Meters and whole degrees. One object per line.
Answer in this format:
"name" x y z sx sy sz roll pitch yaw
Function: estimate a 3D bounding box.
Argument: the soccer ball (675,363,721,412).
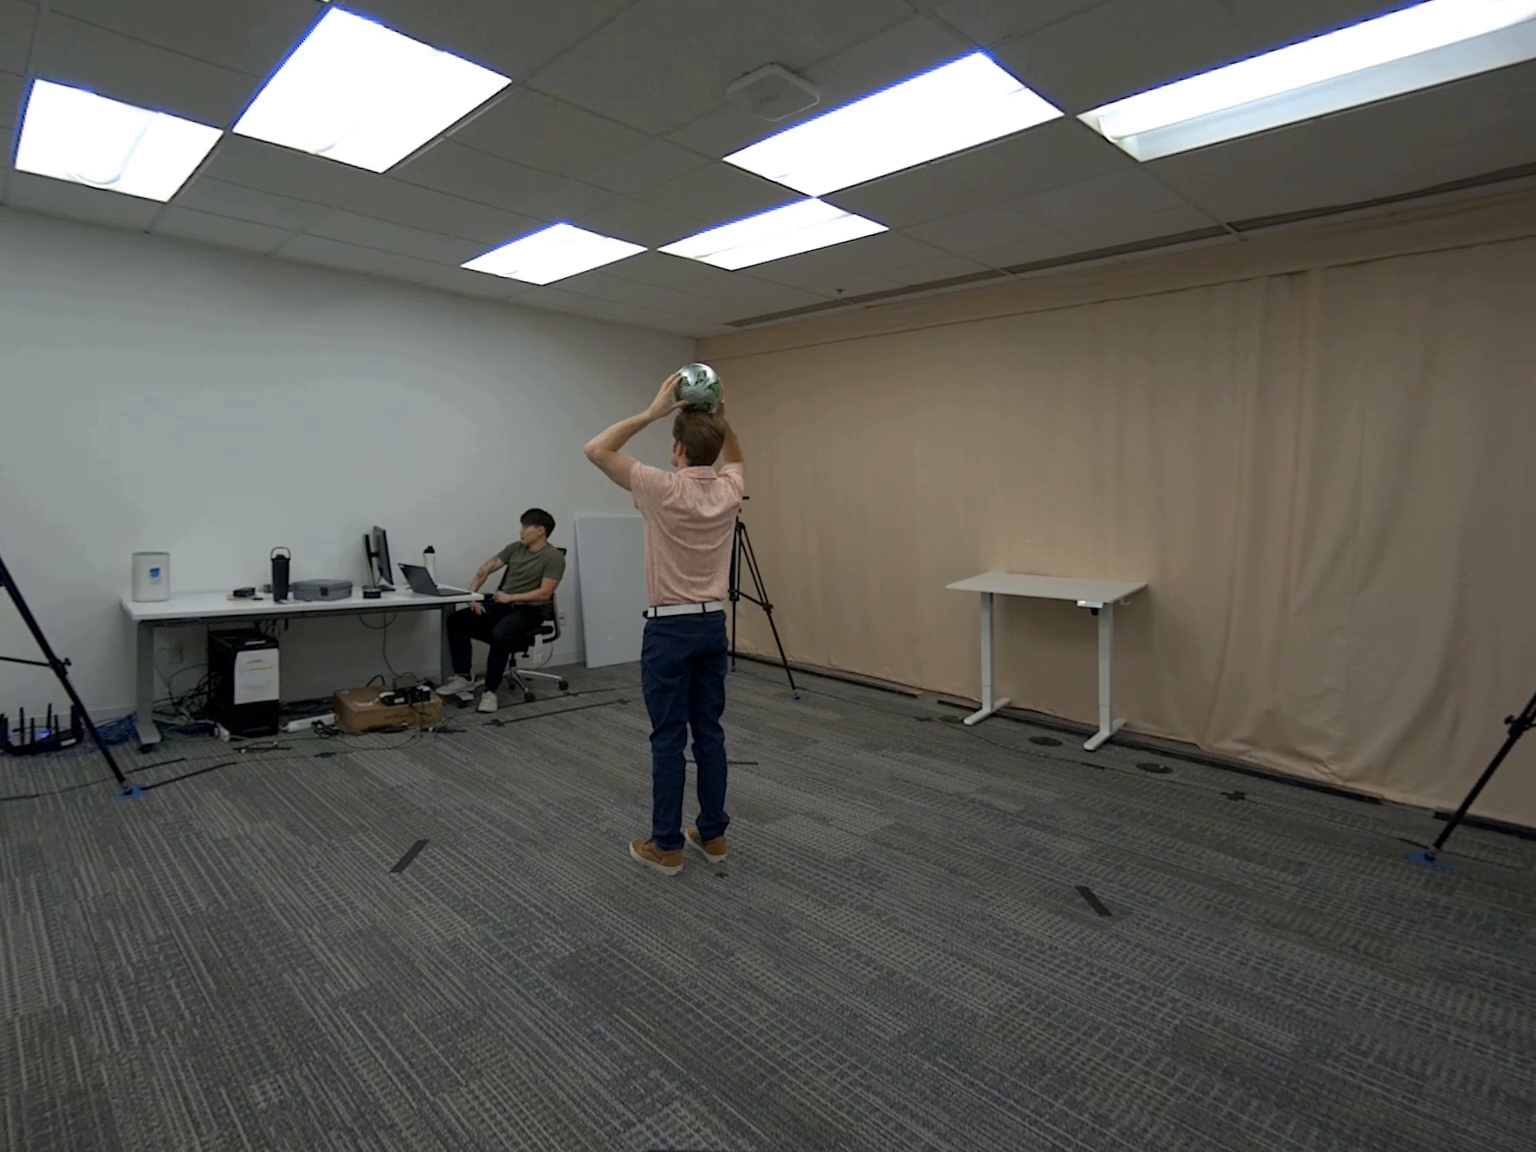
"soccer ball" -0.275 -0.697 3.147 0.187 0.187 0.188 1 4 -1
